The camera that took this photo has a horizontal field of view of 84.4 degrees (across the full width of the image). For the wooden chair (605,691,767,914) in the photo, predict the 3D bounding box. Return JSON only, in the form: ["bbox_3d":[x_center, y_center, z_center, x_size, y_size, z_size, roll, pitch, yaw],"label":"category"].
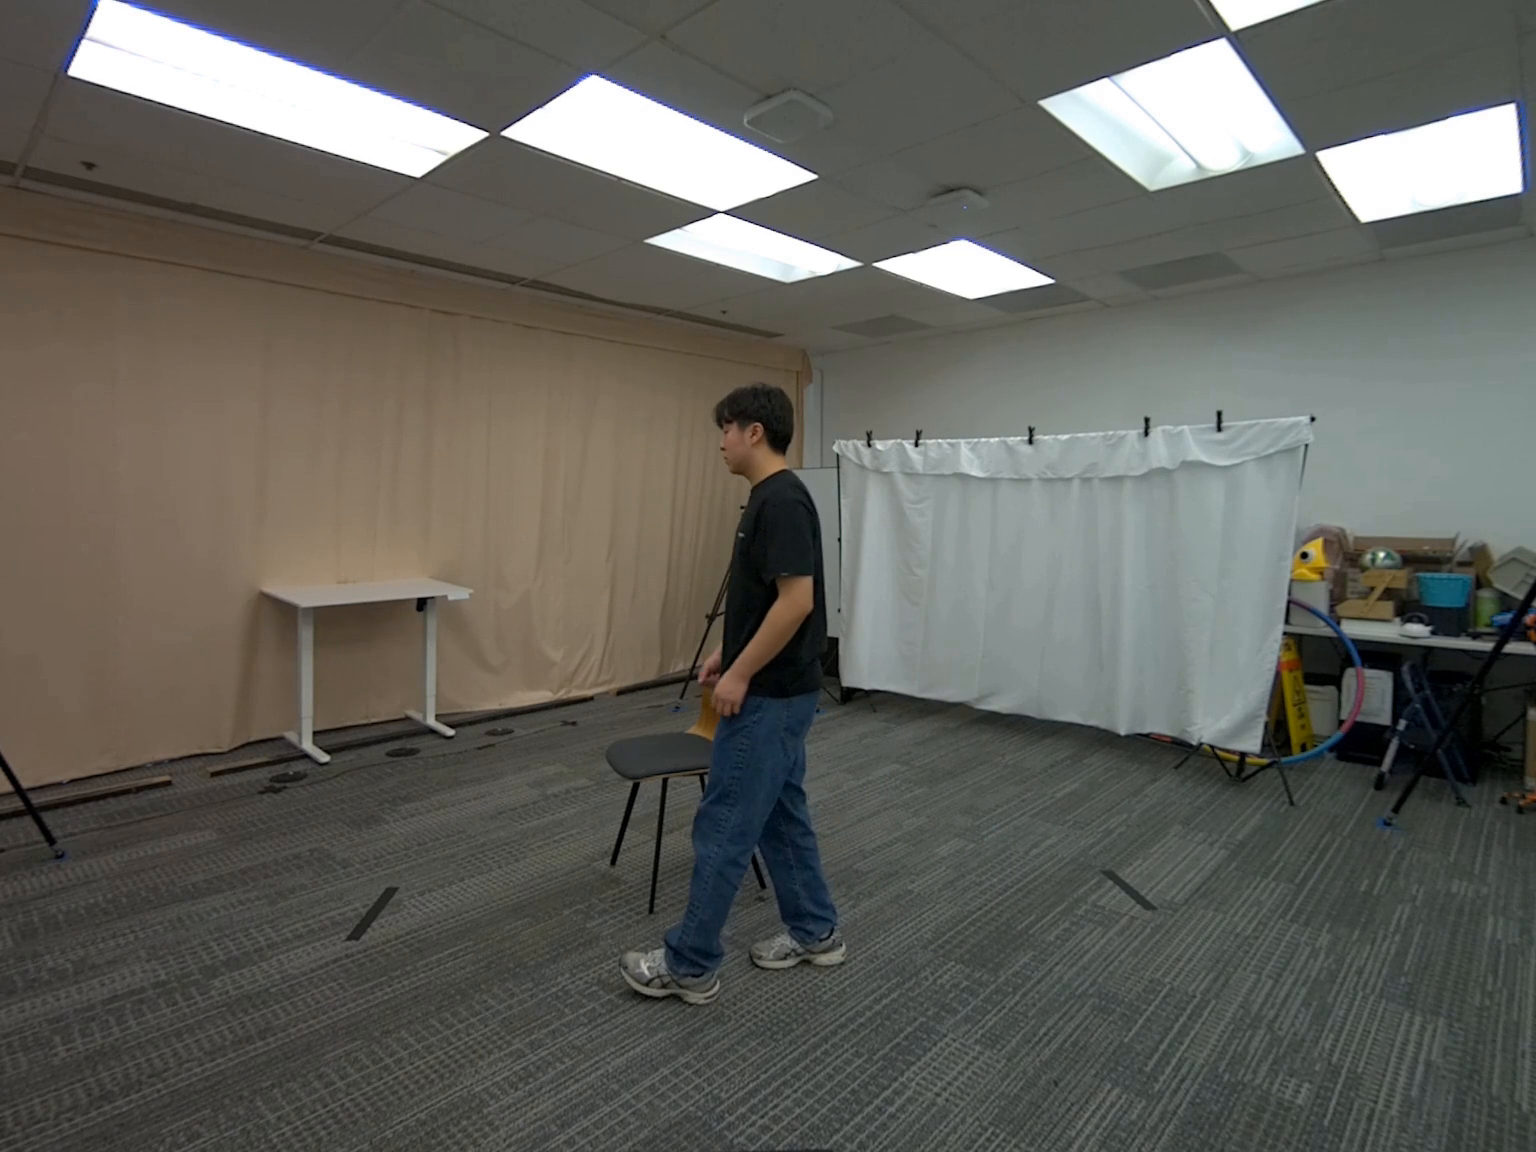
[{"bbox_3d":[-0.318,0.704,3.136,0.510,0.877,0.491,3,2,-27],"label":"wooden chair"}]
